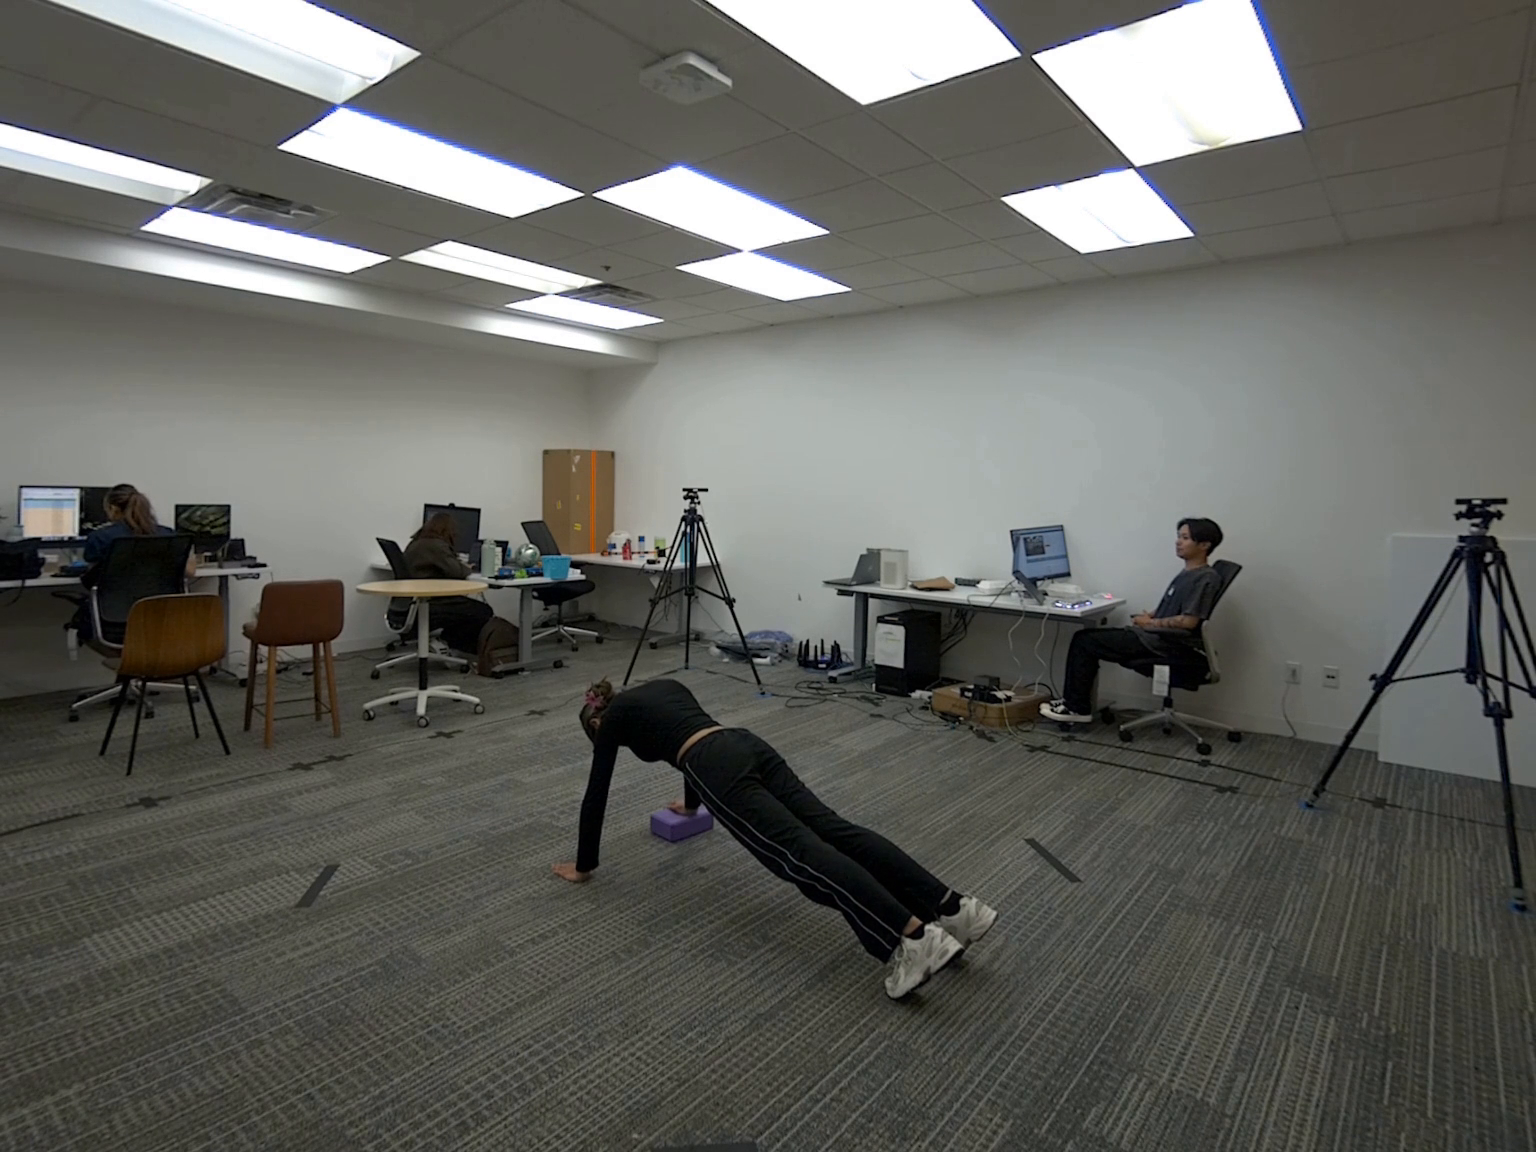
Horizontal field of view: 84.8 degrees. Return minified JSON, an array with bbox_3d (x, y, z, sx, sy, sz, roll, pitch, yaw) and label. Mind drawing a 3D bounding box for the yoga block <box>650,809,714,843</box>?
[{"bbox_3d":[-0.360,0.997,3.460,0.222,0.076,0.154,-2,6,-44],"label":"yoga block"}]
